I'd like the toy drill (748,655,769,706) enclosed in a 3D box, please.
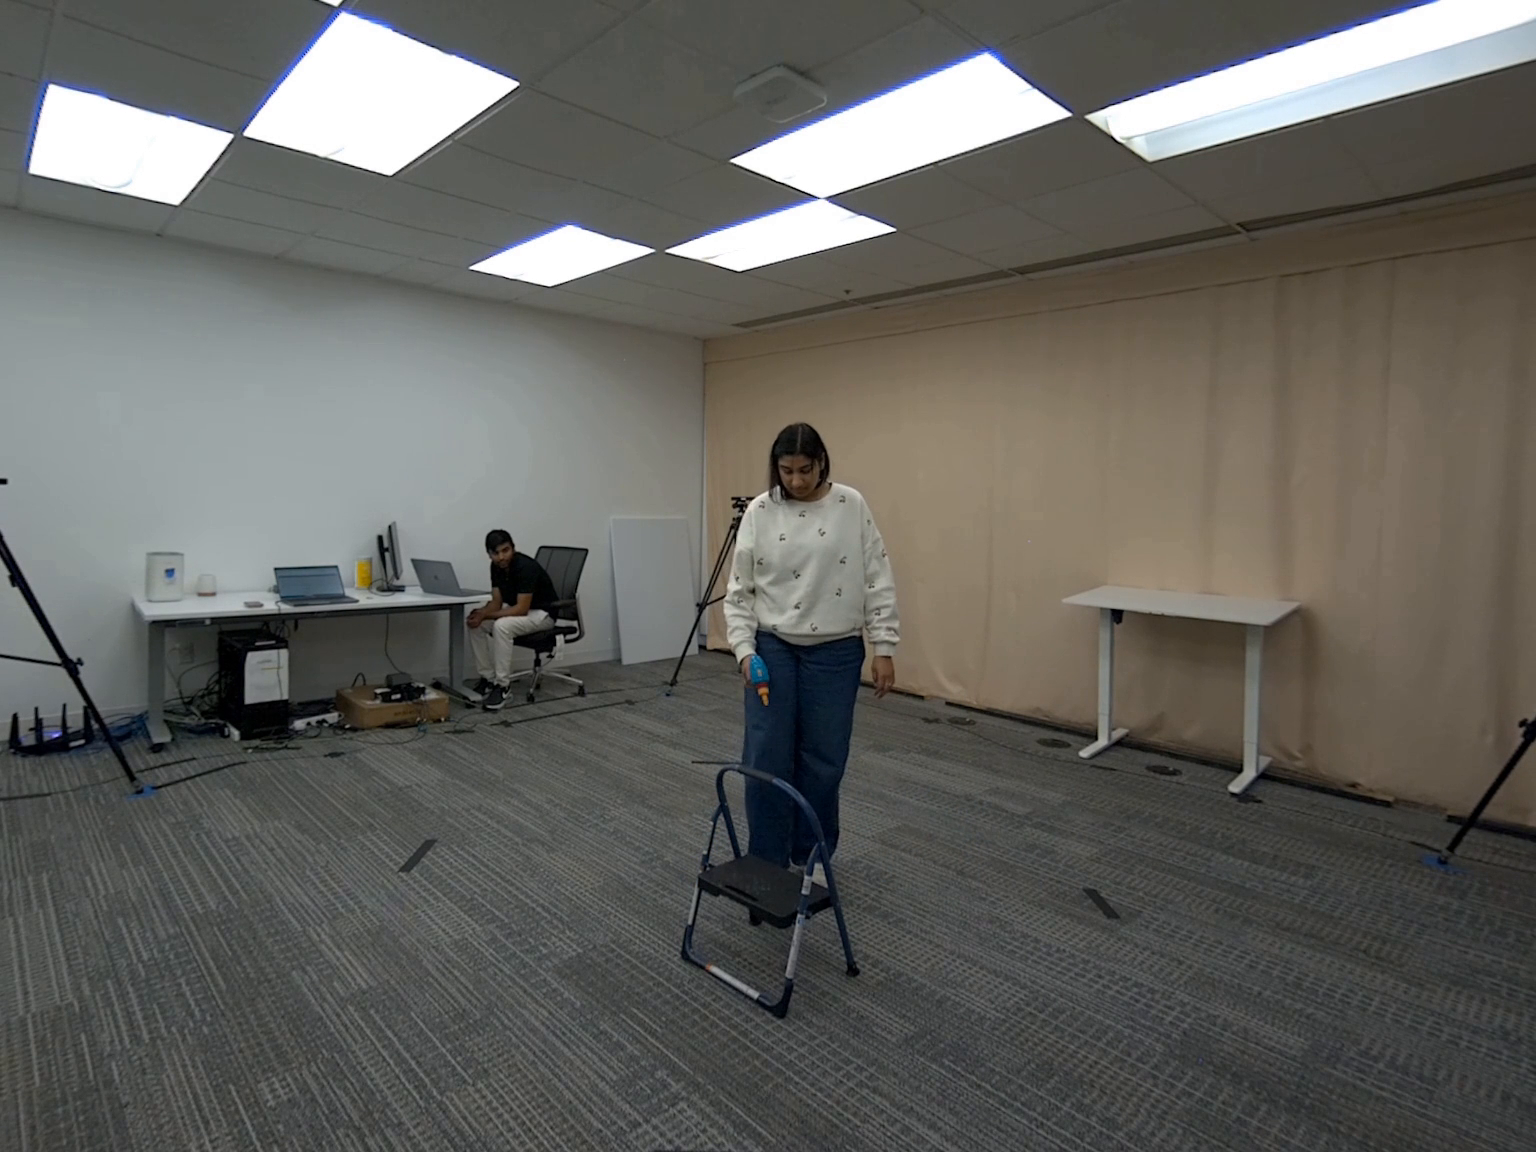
[{"bbox_3d":[-0.042,0.356,2.800,0.061,0.172,0.144,-12,-17,-4],"label":"toy drill"}]
